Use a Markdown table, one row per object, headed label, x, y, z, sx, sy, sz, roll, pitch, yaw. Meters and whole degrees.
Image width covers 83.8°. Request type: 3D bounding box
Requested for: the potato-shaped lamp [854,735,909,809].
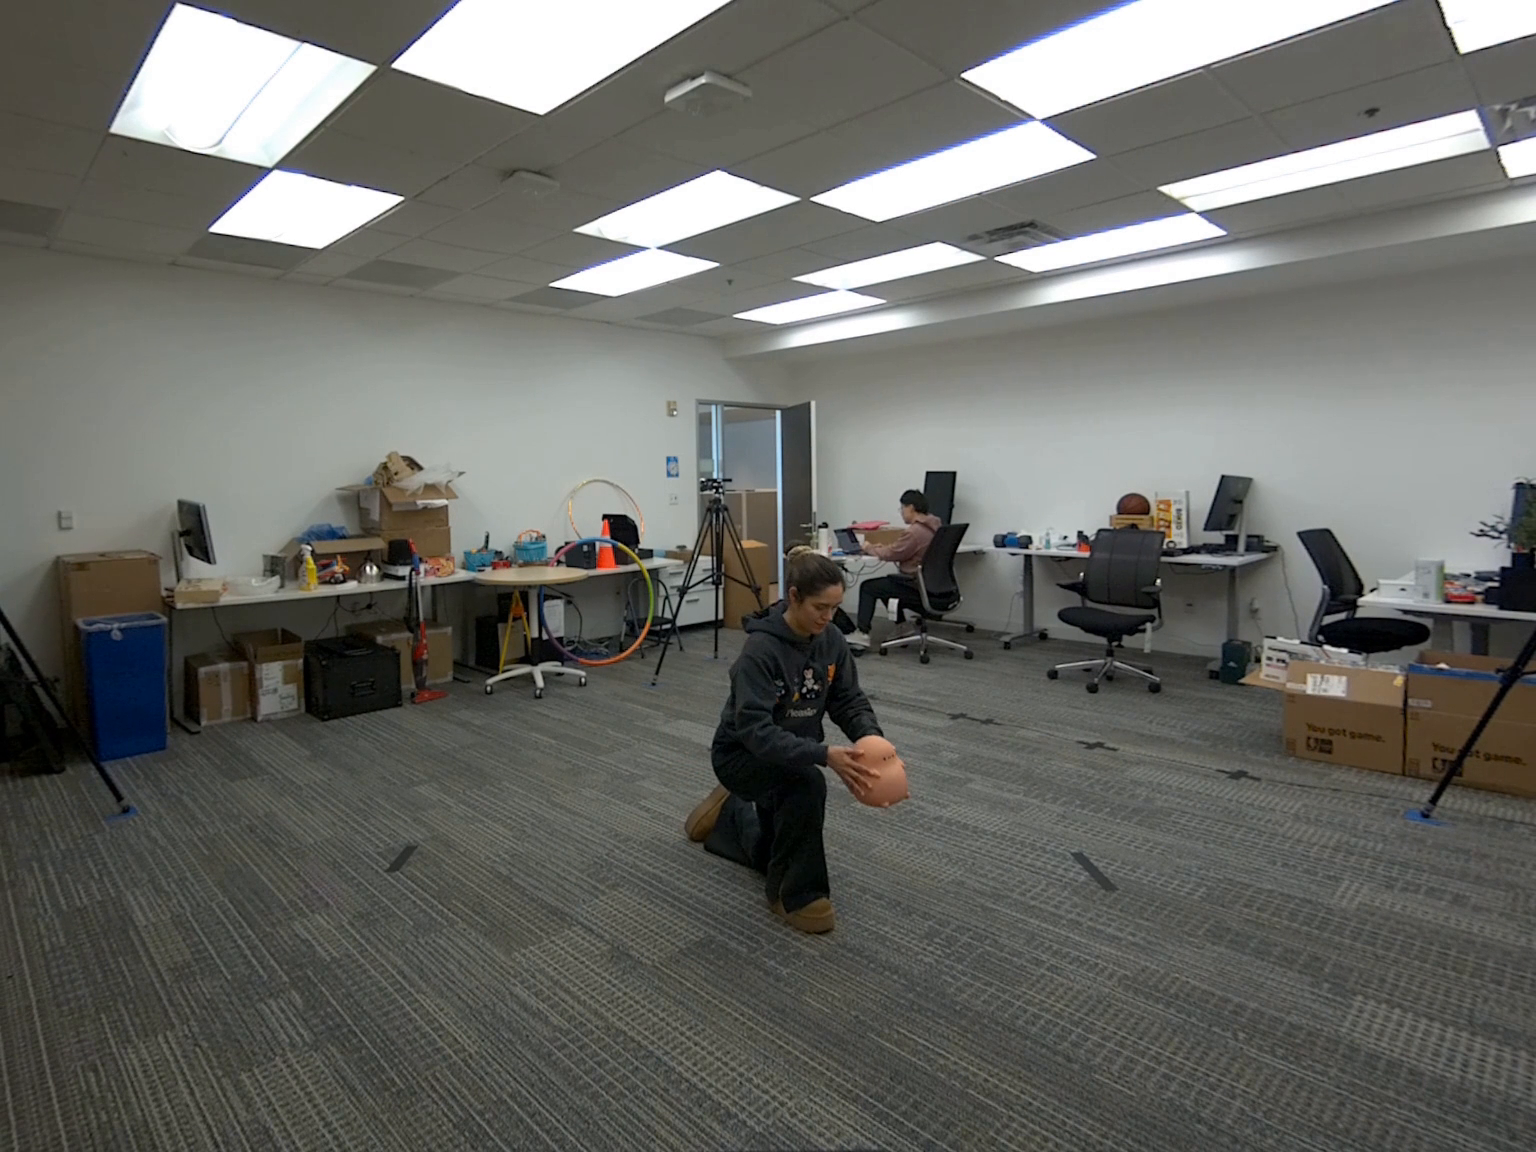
| label | x | y | z | sx | sy | sz | roll | pitch | yaw |
| --- | --- | --- | --- | --- | --- | --- | --- | --- | --- |
| potato-shaped lamp | 0.316 | 0.587 | 2.550 | 0.161 | 0.198 | 0.176 | -8 | 1 | -39 |
